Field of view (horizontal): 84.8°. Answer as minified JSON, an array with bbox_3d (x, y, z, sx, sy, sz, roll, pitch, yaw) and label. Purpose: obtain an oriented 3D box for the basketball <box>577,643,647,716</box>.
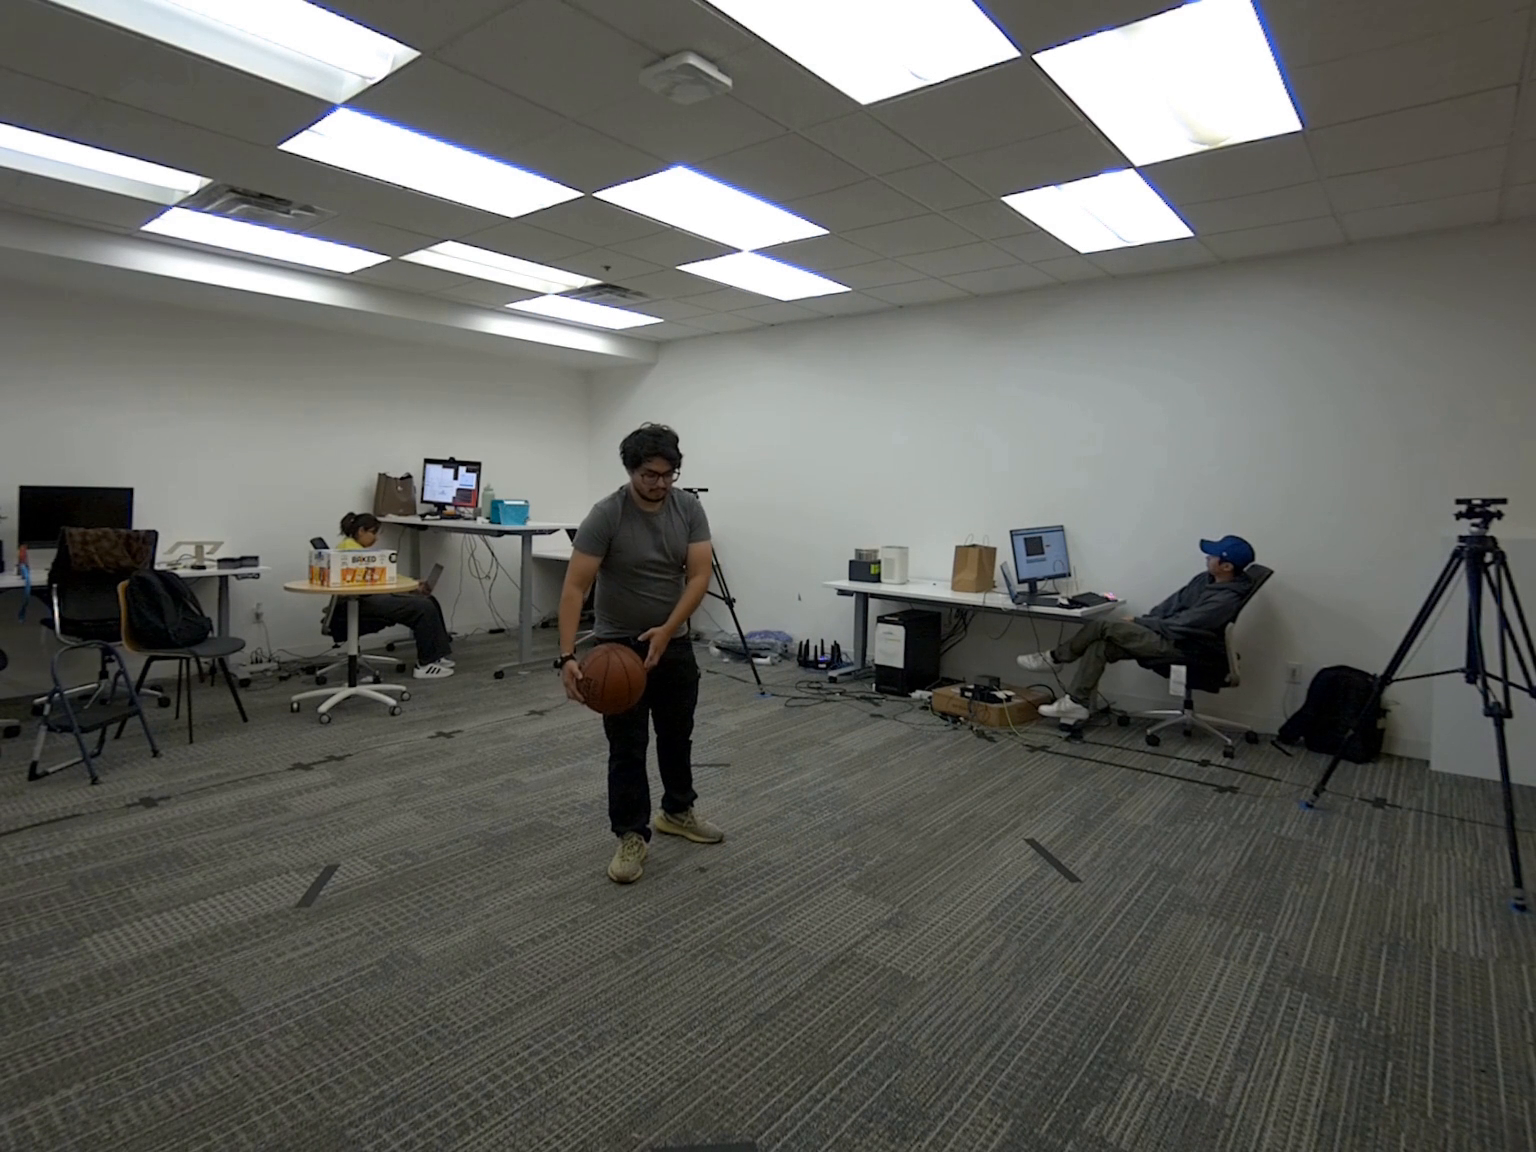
[{"bbox_3d":[-0.543,0.338,2.871,0.235,0.235,0.237,1,4,-2],"label":"basketball"}]
